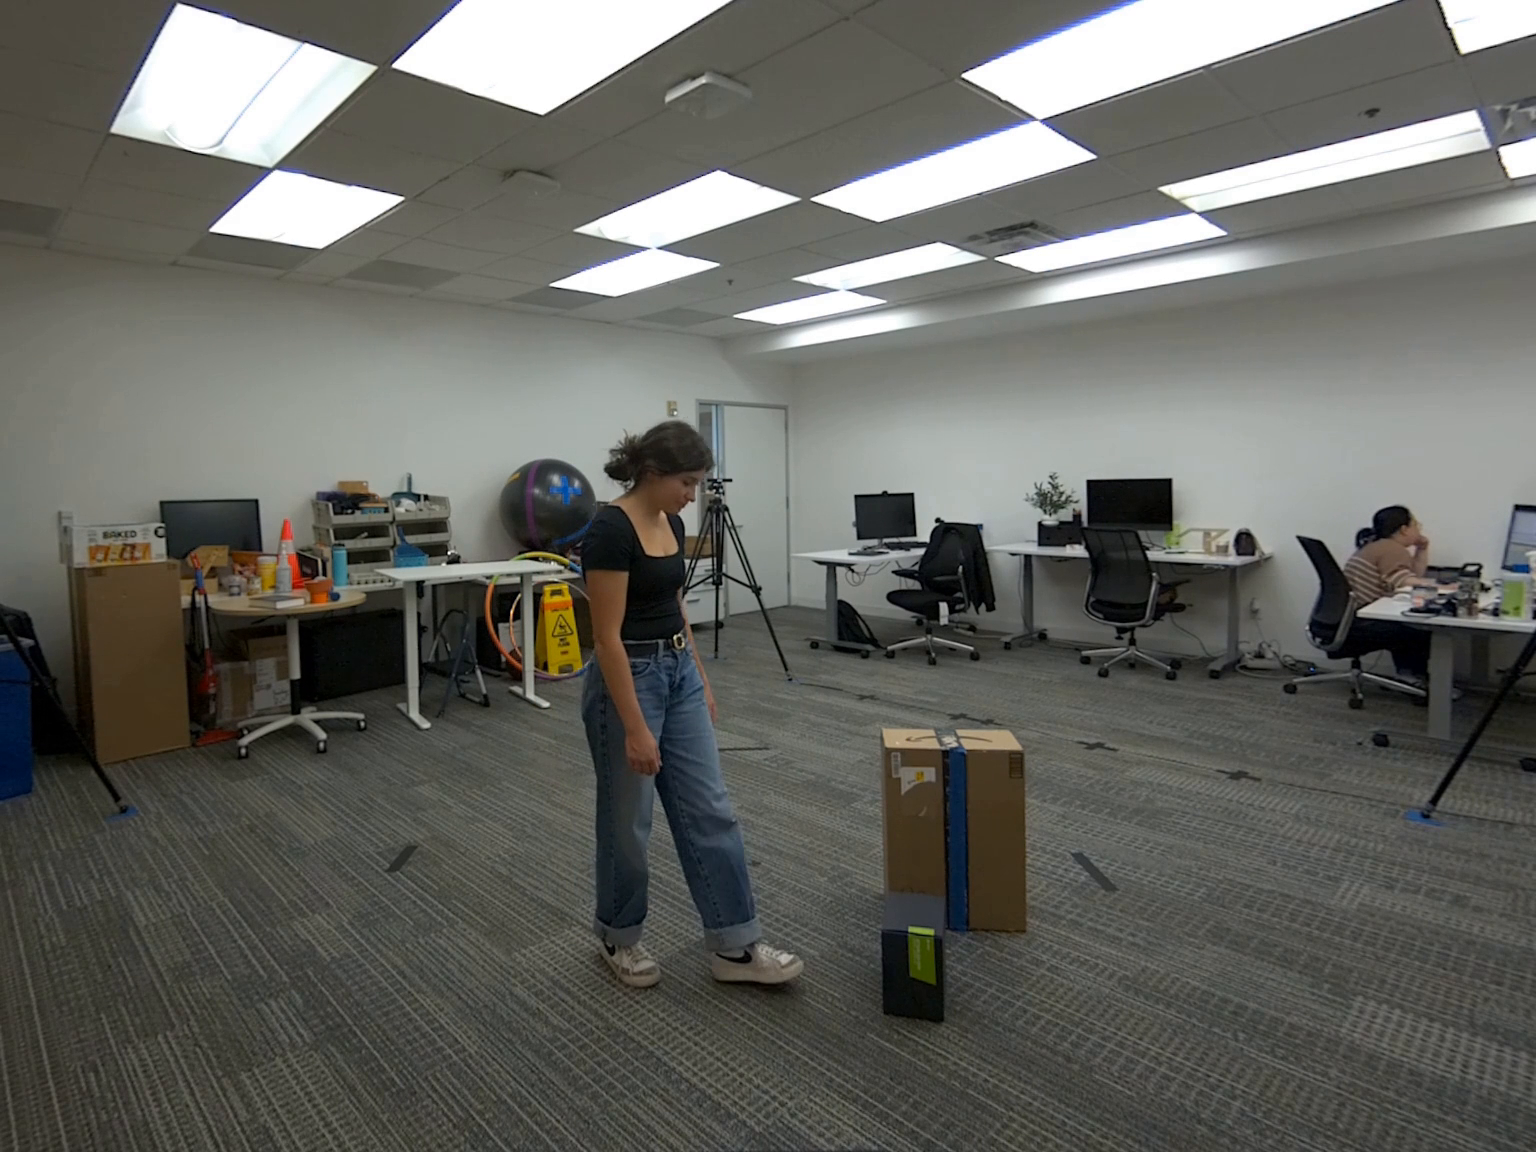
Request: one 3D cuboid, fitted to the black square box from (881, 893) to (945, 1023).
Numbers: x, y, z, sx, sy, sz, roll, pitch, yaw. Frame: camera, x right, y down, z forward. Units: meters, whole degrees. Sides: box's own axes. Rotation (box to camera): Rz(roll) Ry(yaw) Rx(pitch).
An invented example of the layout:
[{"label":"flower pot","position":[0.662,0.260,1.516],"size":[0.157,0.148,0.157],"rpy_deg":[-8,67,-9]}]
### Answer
[{"label":"black square box","position":[0.398,1.010,2.294],"size":[0.158,0.227,0.215],"rpy_deg":[-1,5,14]}]
